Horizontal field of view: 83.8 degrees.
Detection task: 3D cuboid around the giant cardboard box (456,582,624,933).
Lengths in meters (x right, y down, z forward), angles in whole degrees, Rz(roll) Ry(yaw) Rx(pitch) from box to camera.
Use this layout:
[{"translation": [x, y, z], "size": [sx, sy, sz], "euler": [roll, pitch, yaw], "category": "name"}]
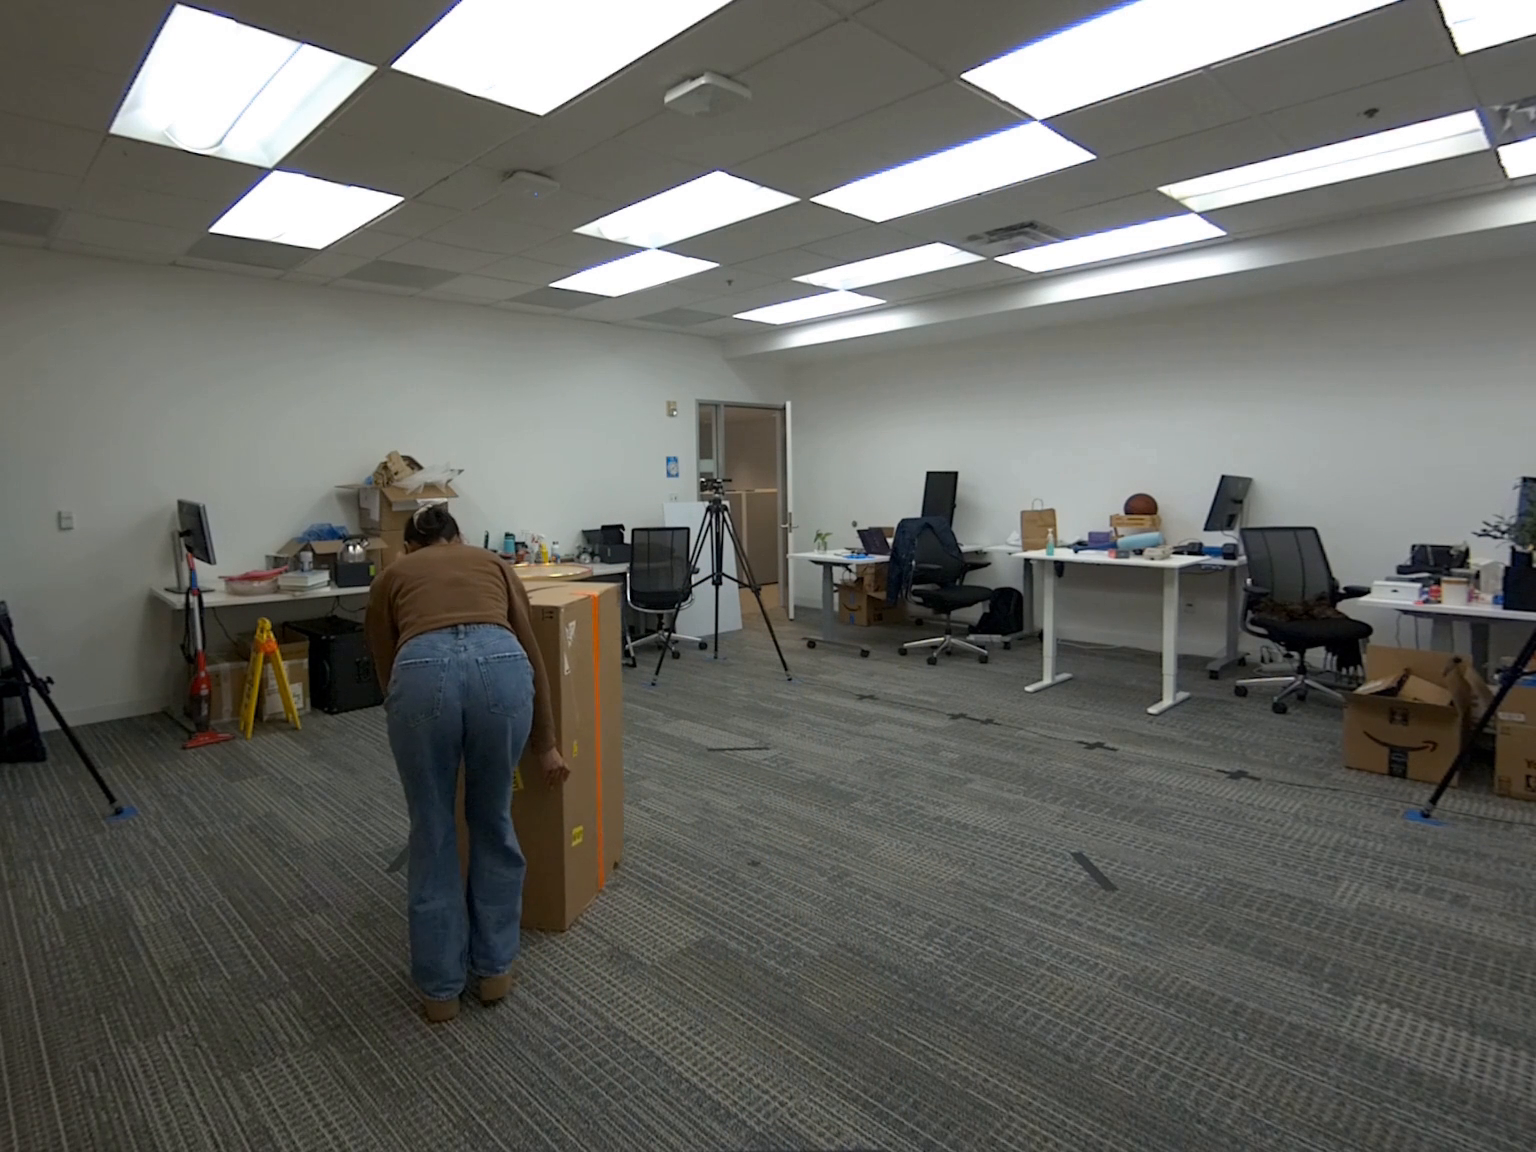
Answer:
[{"translation": [-0.784, 0.568, 2.945], "size": [0.431, 1.022, 0.573], "euler": [0, 4, 10], "category": "giant cardboard box"}]
